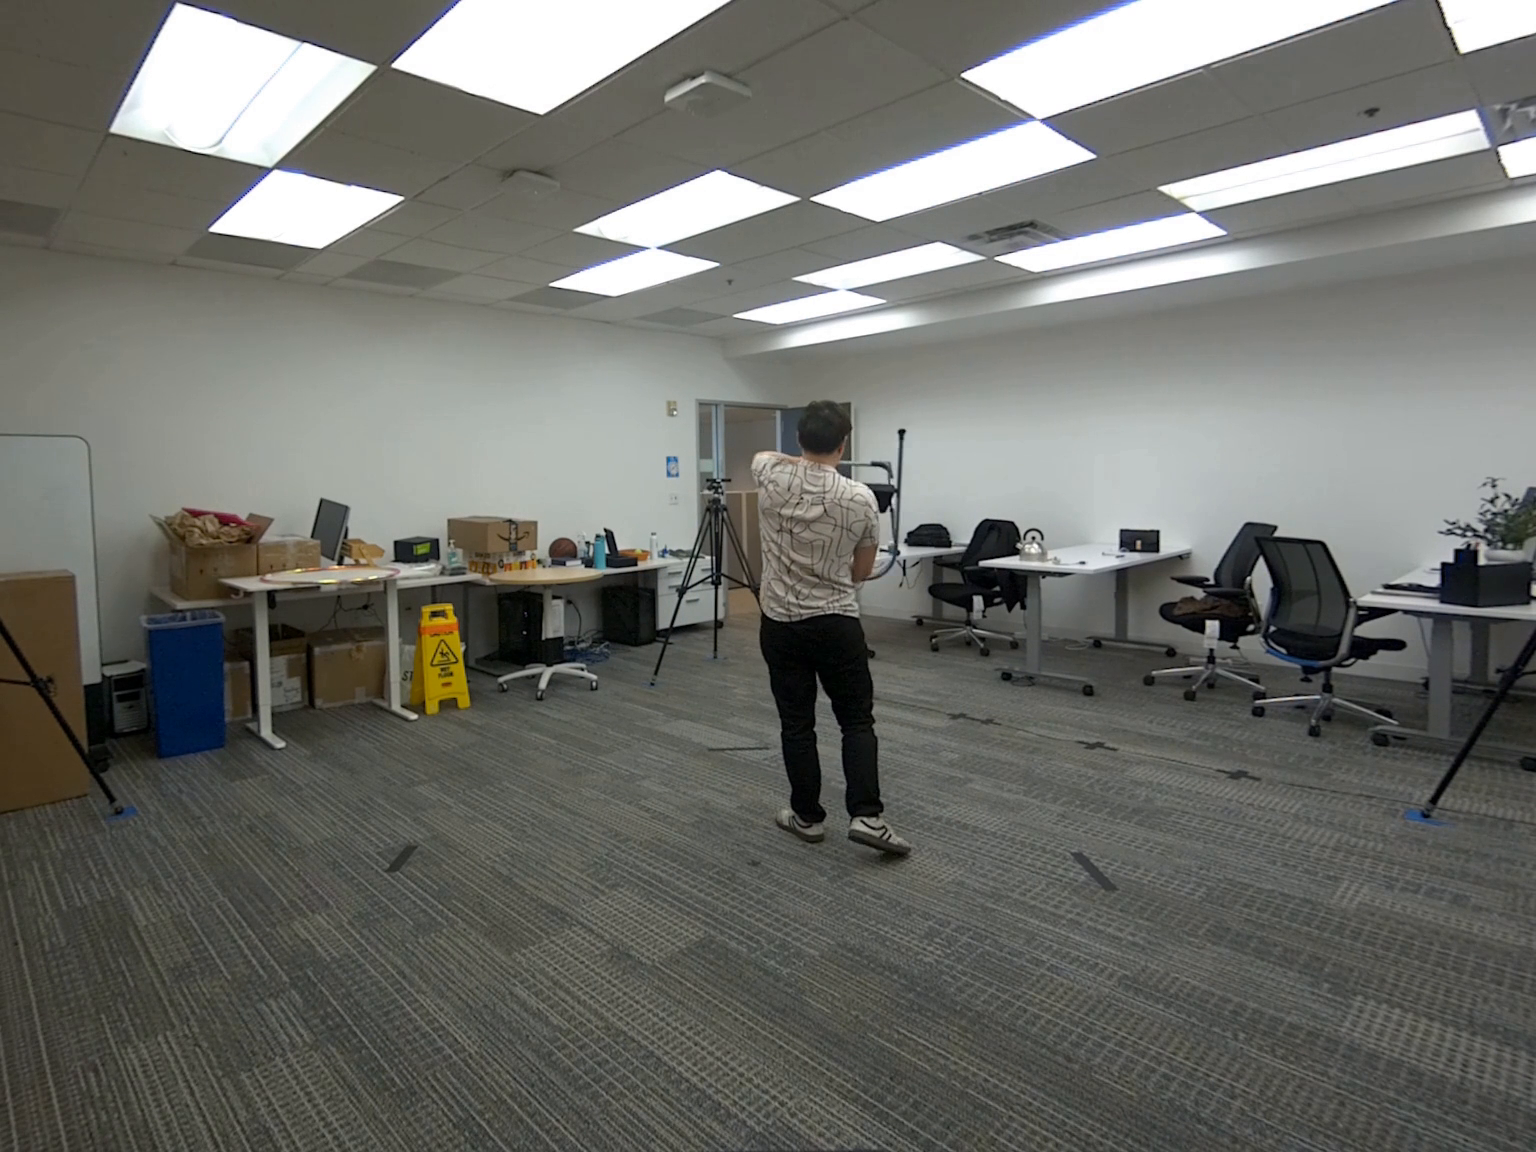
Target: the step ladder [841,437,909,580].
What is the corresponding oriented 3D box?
[{"bbox_3d":[0.362,-0.290,3.707,0.431,0.616,0.343,2,-20,1],"label":"step ladder"}]
